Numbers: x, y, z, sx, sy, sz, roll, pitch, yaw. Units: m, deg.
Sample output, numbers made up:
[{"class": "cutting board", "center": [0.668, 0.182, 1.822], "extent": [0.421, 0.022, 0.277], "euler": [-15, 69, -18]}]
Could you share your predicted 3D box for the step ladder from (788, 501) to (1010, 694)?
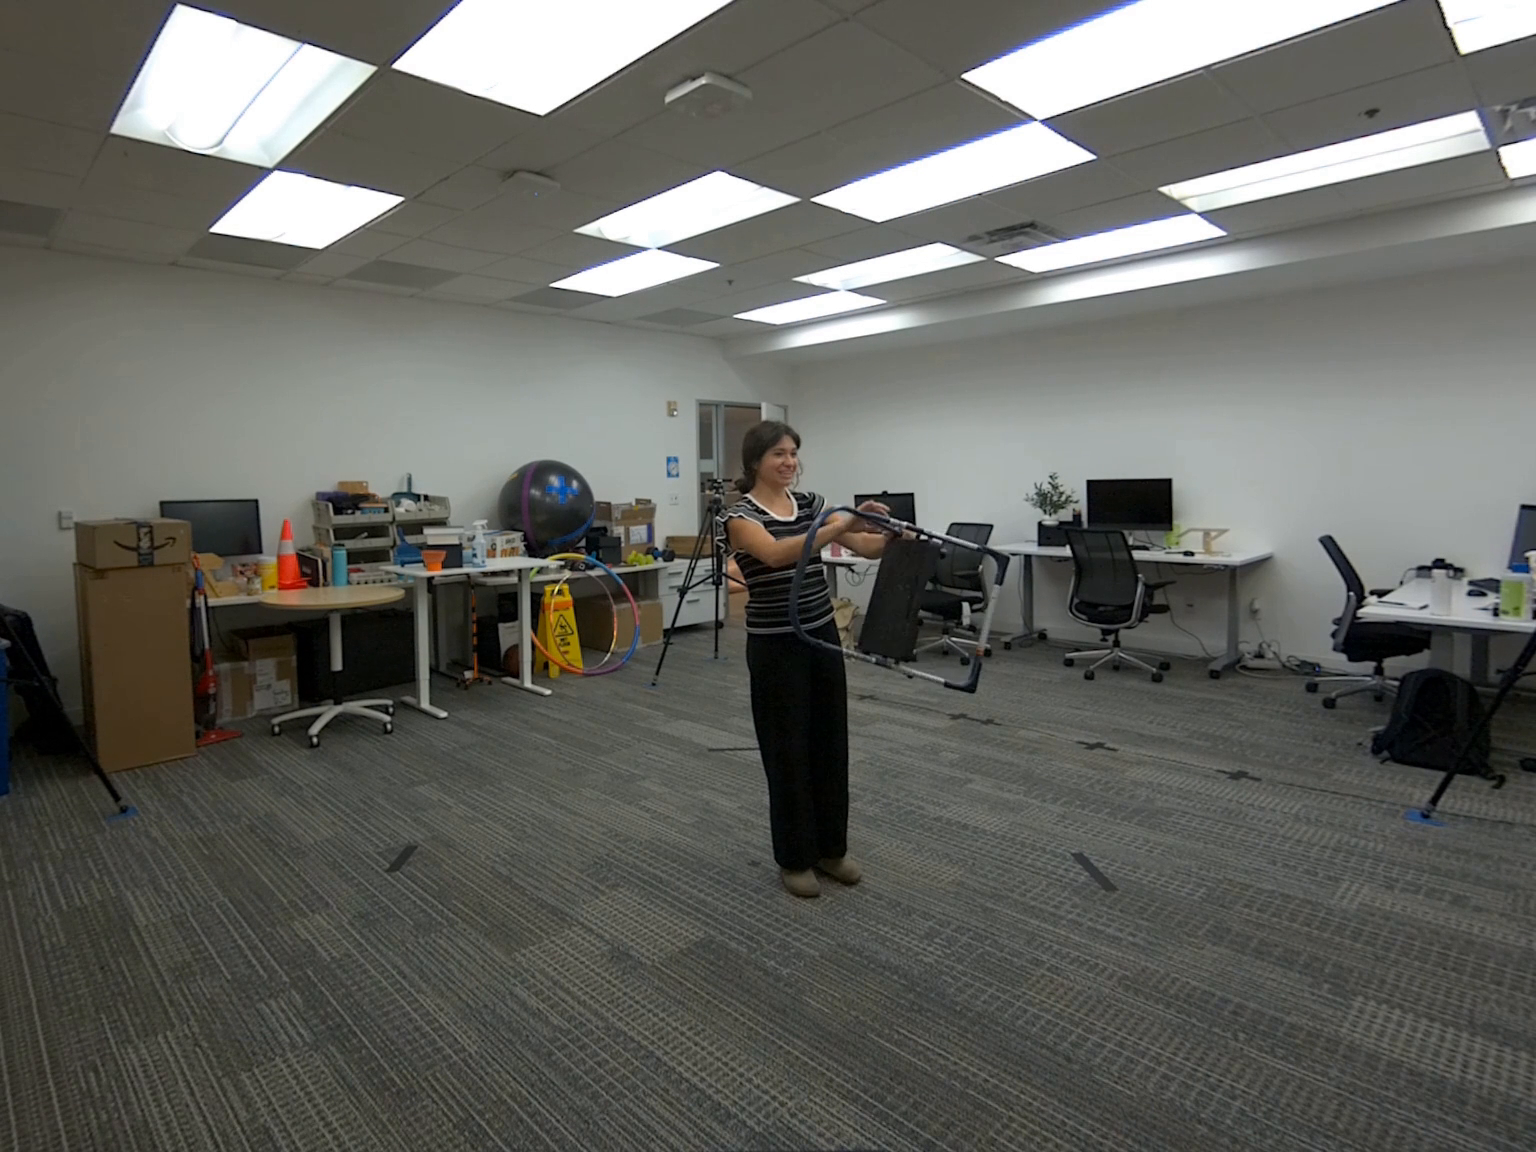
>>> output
[{"class": "step ladder", "center": [0.317, 0.049, 2.500], "extent": [0.592, 0.431, 0.357], "euler": [16, -2, -21]}]
